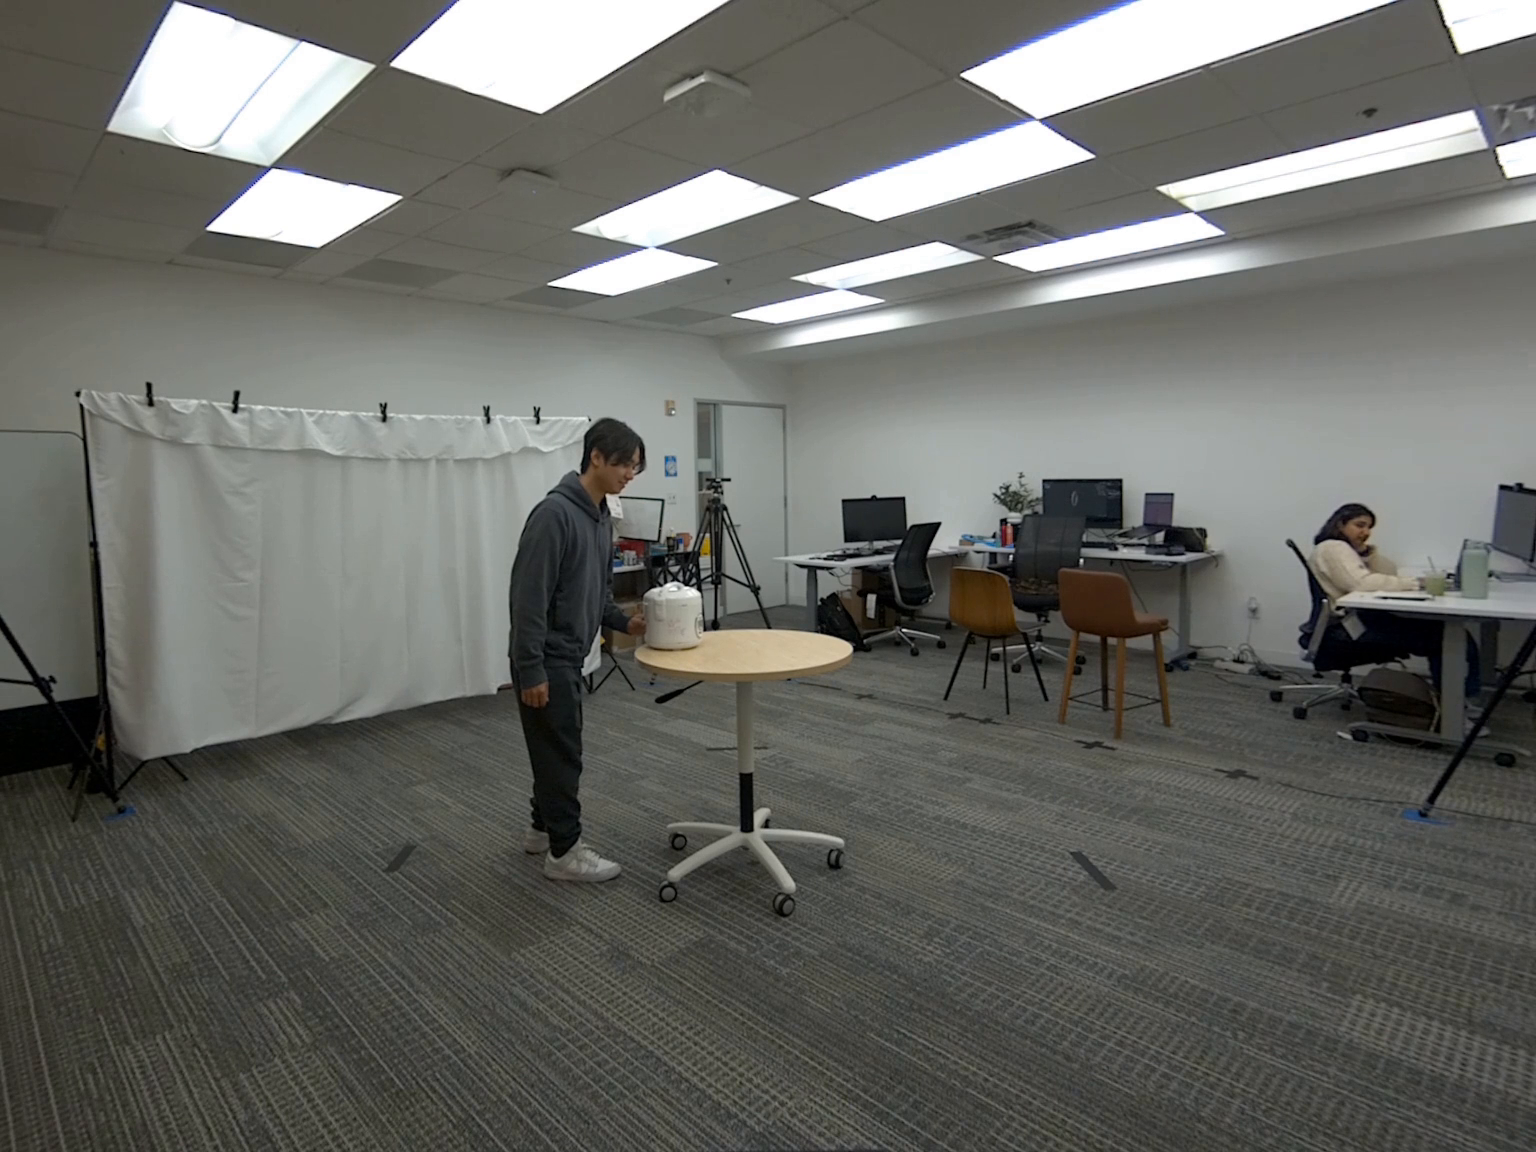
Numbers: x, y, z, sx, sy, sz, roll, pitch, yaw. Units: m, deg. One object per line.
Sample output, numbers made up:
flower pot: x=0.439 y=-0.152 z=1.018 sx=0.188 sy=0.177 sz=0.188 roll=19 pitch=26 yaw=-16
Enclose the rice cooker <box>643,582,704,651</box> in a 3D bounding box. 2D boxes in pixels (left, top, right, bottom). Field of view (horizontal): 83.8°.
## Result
rice cooker: x=-0.341 y=0.139 z=3.083 sx=0.222 sy=0.232 sz=0.217 roll=0 pitch=5 yaw=24
